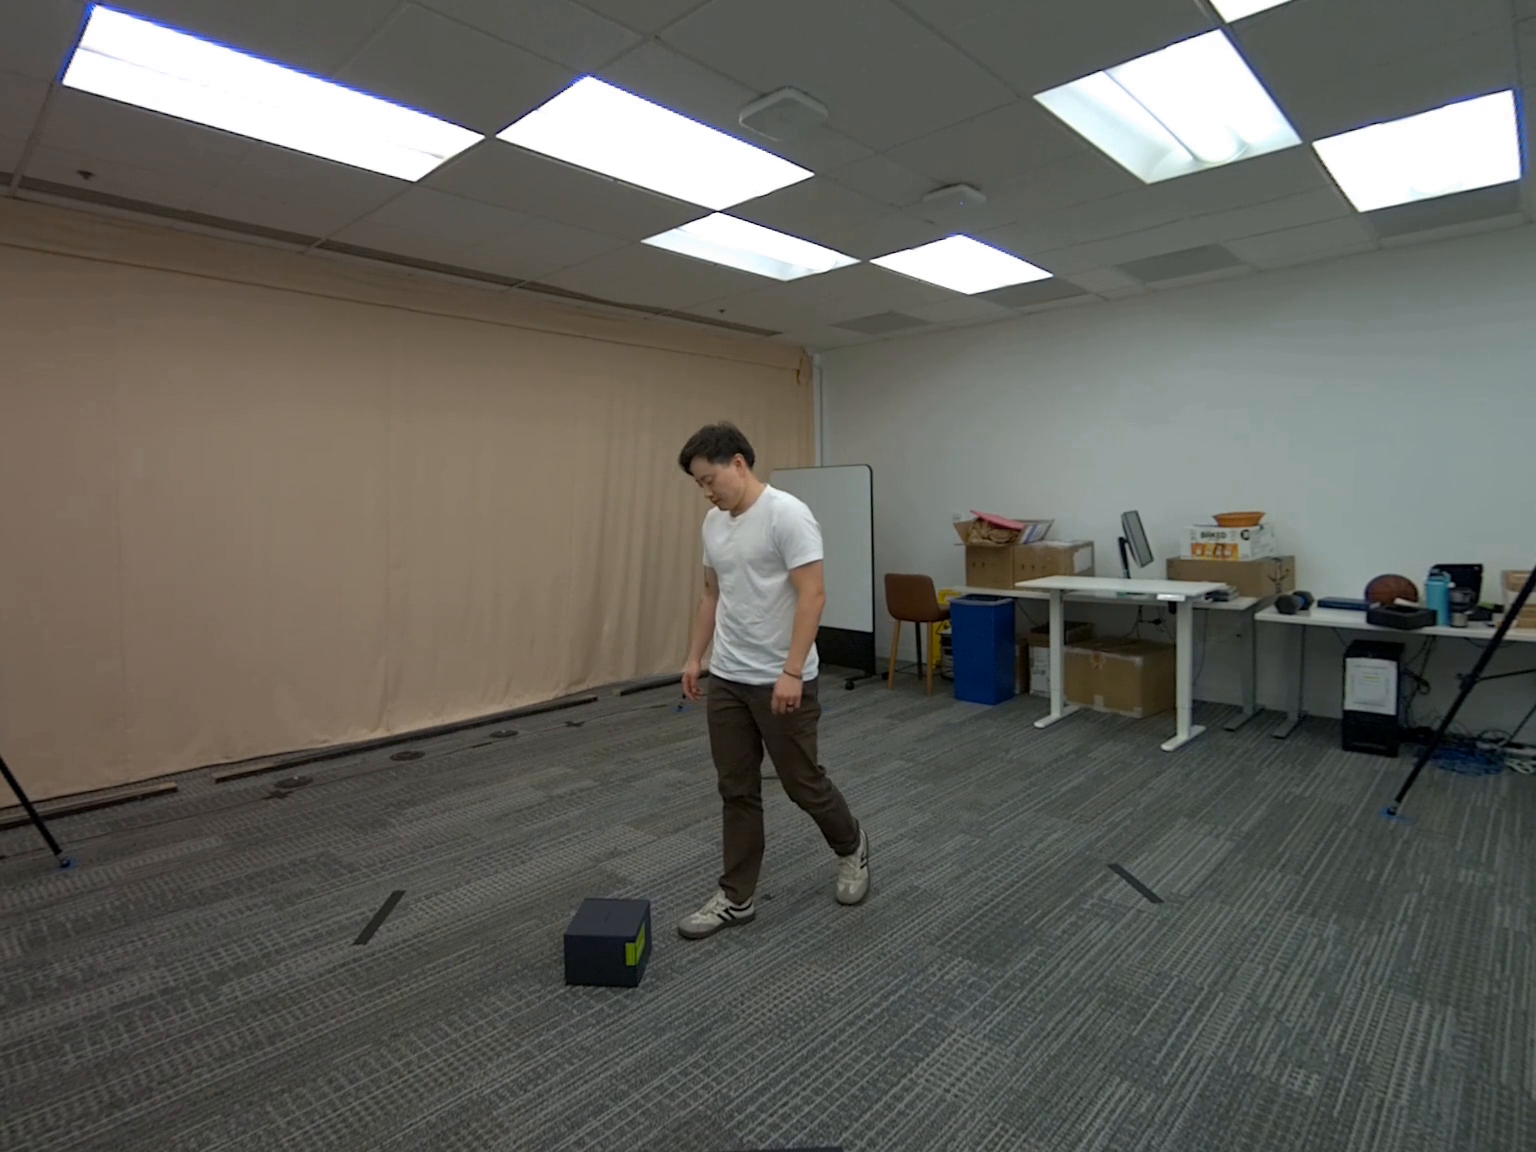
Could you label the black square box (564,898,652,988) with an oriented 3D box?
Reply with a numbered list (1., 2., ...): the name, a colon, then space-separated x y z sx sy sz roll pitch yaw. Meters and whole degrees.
1. black square box: -0.478 1.101 2.549 0.218 0.155 0.227 -1 4 5
